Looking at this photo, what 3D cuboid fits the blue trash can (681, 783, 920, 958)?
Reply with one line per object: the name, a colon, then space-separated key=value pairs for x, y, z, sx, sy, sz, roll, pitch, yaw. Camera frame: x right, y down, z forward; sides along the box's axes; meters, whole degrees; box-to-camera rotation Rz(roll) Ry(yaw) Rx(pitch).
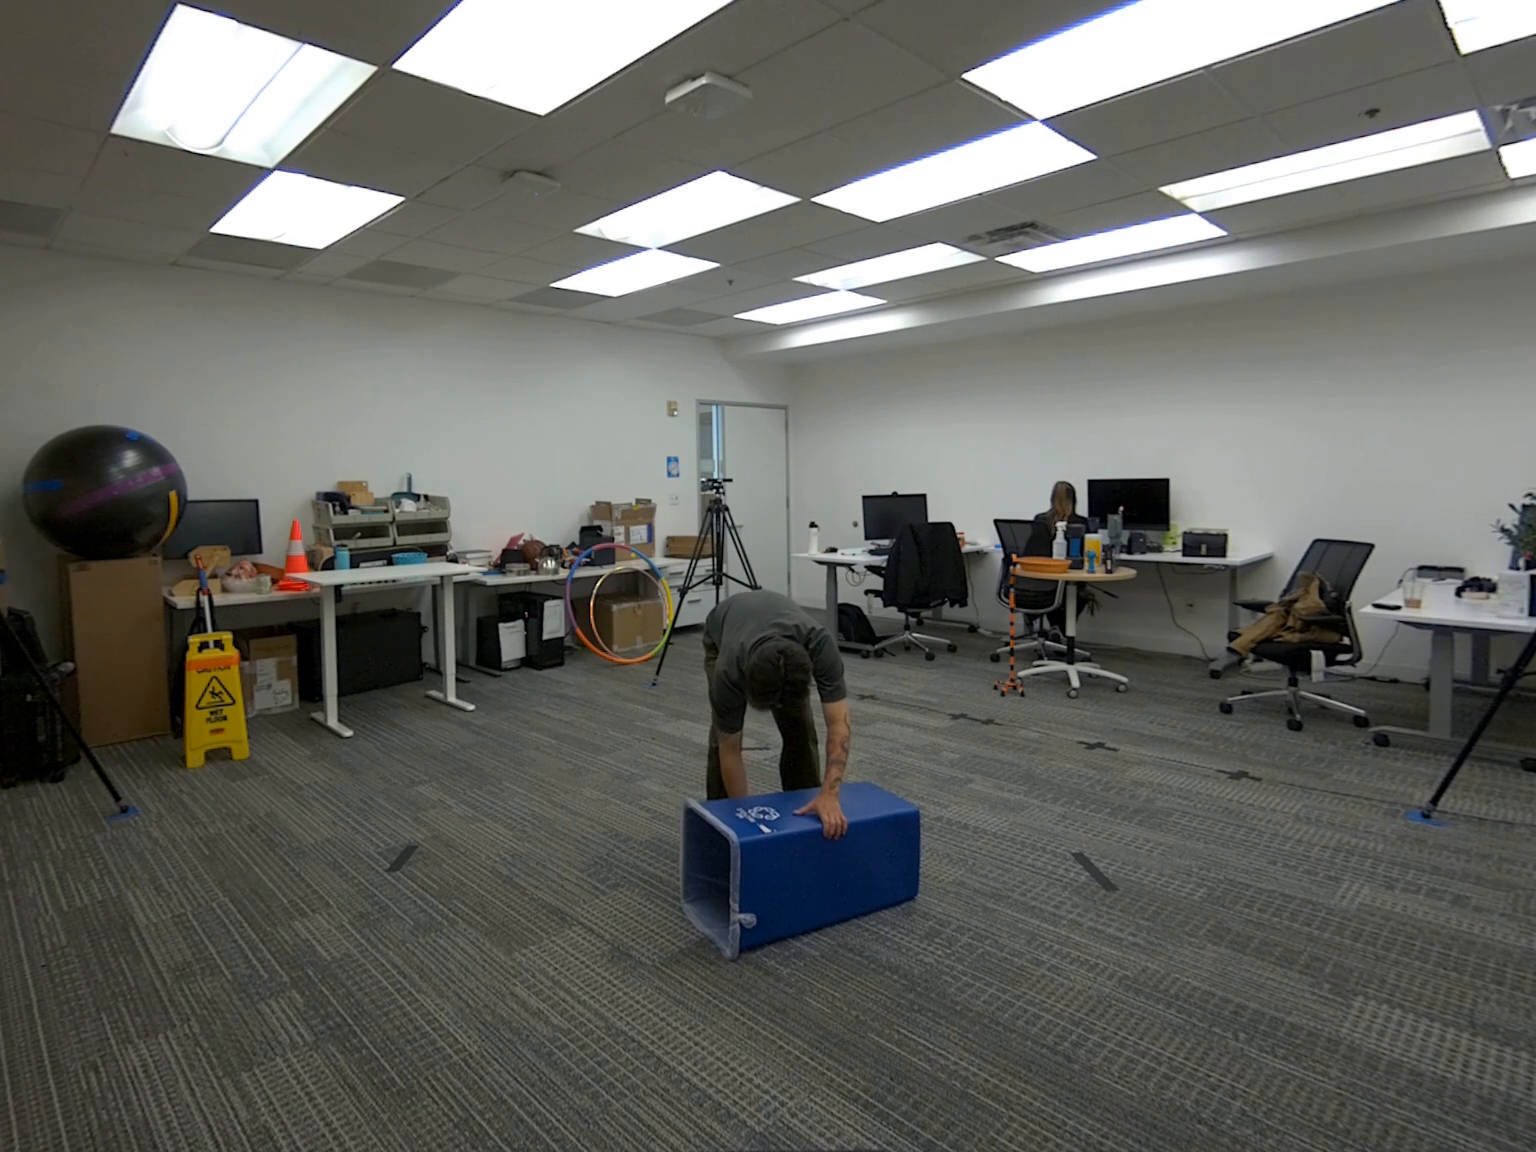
blue trash can: x=0.121 y=0.917 z=2.781 sx=0.697 sy=0.373 sz=0.388 roll=-1 pitch=4 yaw=-27
